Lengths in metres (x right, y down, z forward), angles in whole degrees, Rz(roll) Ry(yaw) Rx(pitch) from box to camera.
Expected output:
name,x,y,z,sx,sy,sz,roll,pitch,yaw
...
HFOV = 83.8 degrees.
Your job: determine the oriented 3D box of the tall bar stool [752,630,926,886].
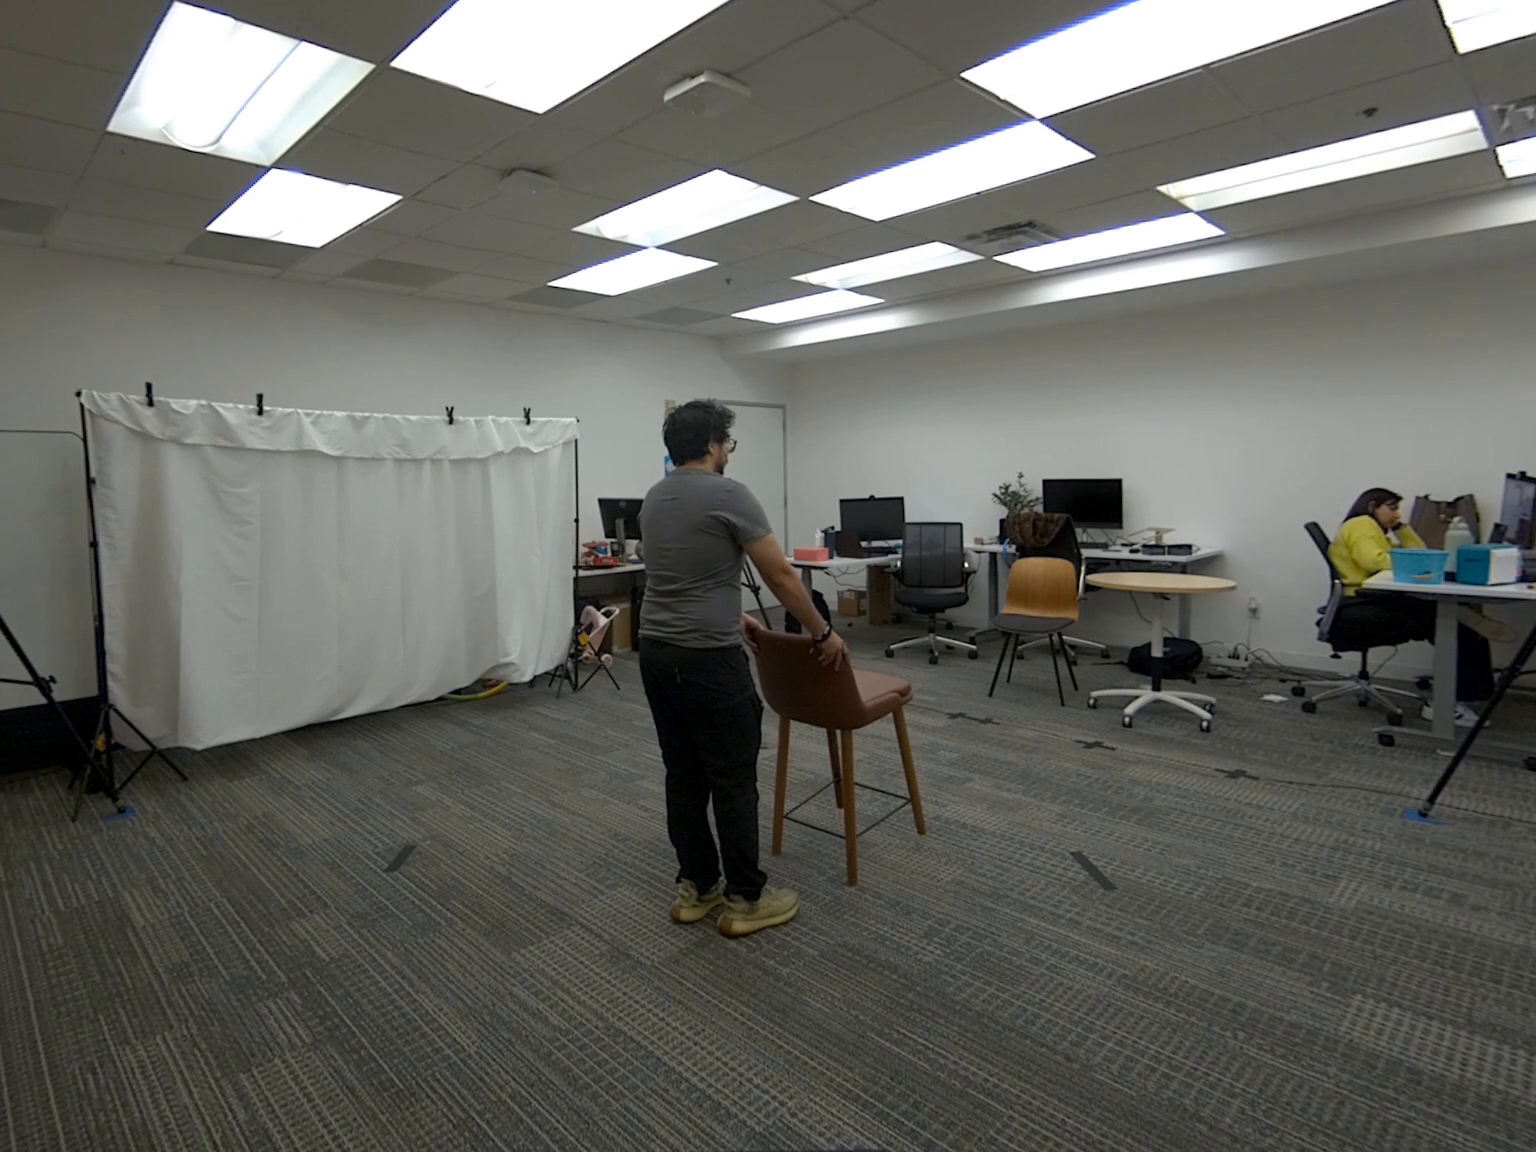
name,x,y,z,sx,sy,sz,roll,pitch,yaw
tall bar stool,0.257,0.577,3.135,0.470,0.881,0.458,4,14,44
